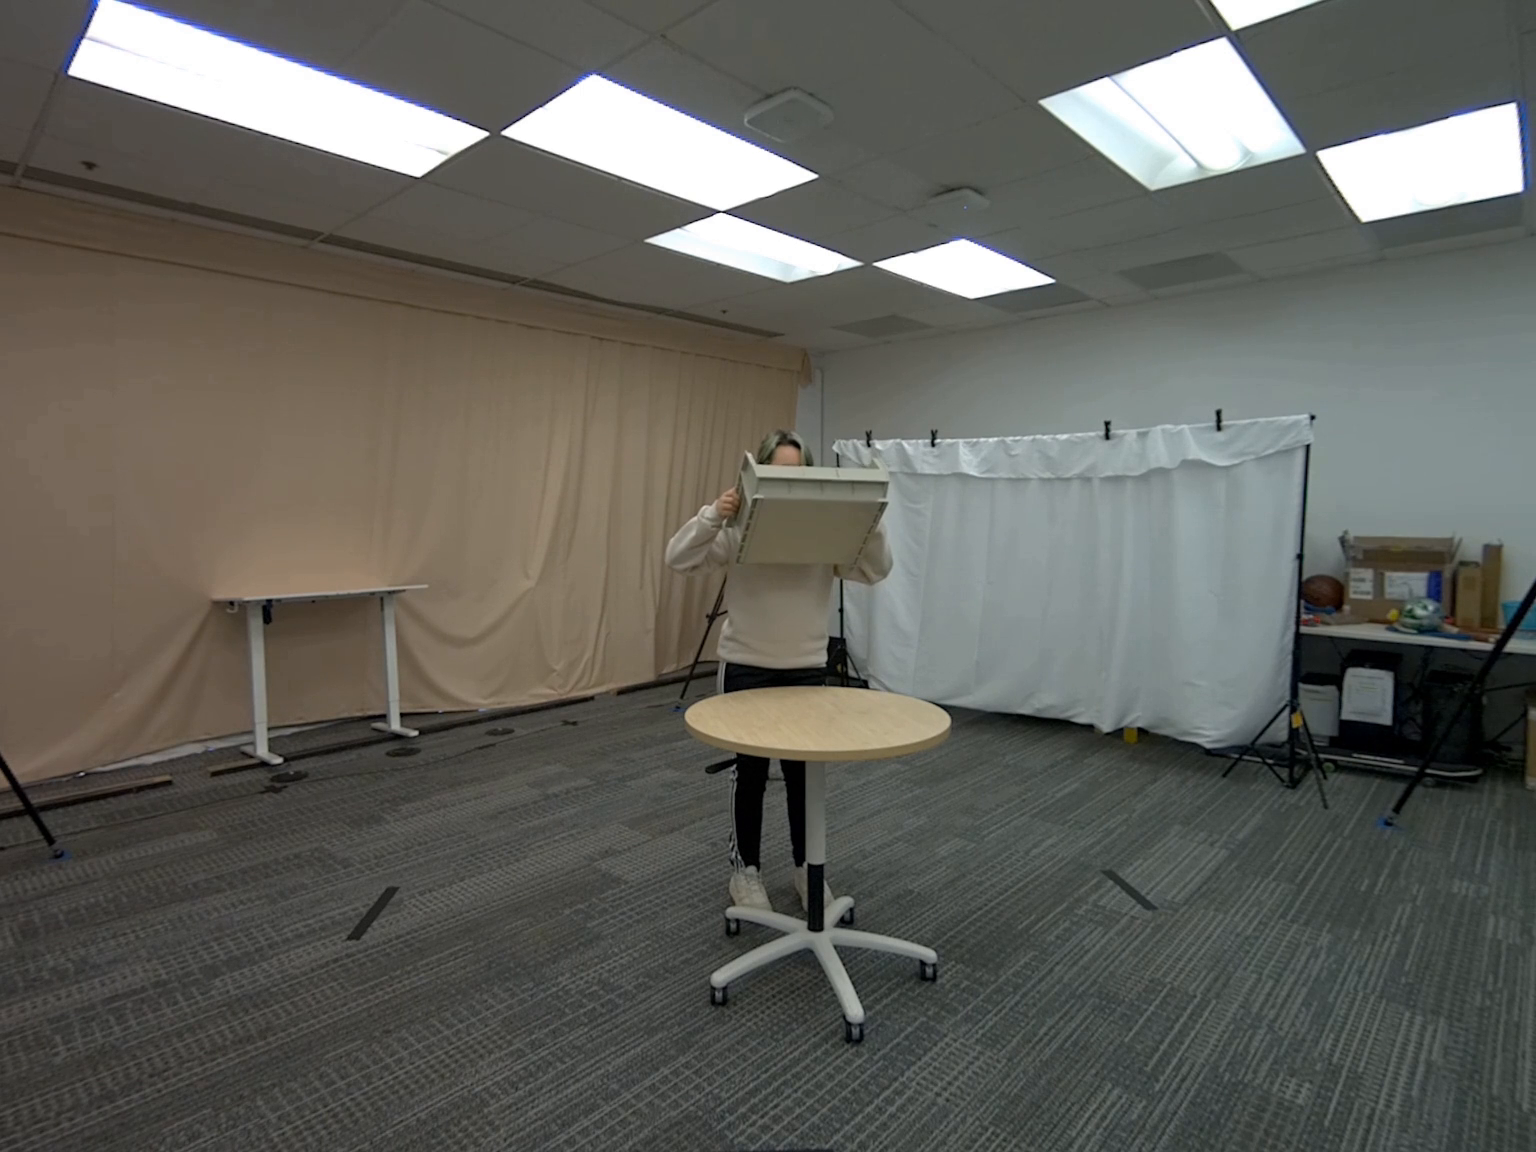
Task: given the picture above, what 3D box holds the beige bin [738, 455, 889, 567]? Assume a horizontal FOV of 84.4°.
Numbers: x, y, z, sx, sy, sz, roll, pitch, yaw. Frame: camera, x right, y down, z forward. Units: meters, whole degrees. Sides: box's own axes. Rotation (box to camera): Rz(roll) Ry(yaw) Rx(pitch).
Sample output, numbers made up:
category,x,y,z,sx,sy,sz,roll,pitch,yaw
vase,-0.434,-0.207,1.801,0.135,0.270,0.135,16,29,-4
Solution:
category,x,y,z,sx,sy,sz,roll,pitch,yaw
beige bin,0.119,-0.202,2.595,0.416,0.193,0.374,2,-38,-13
